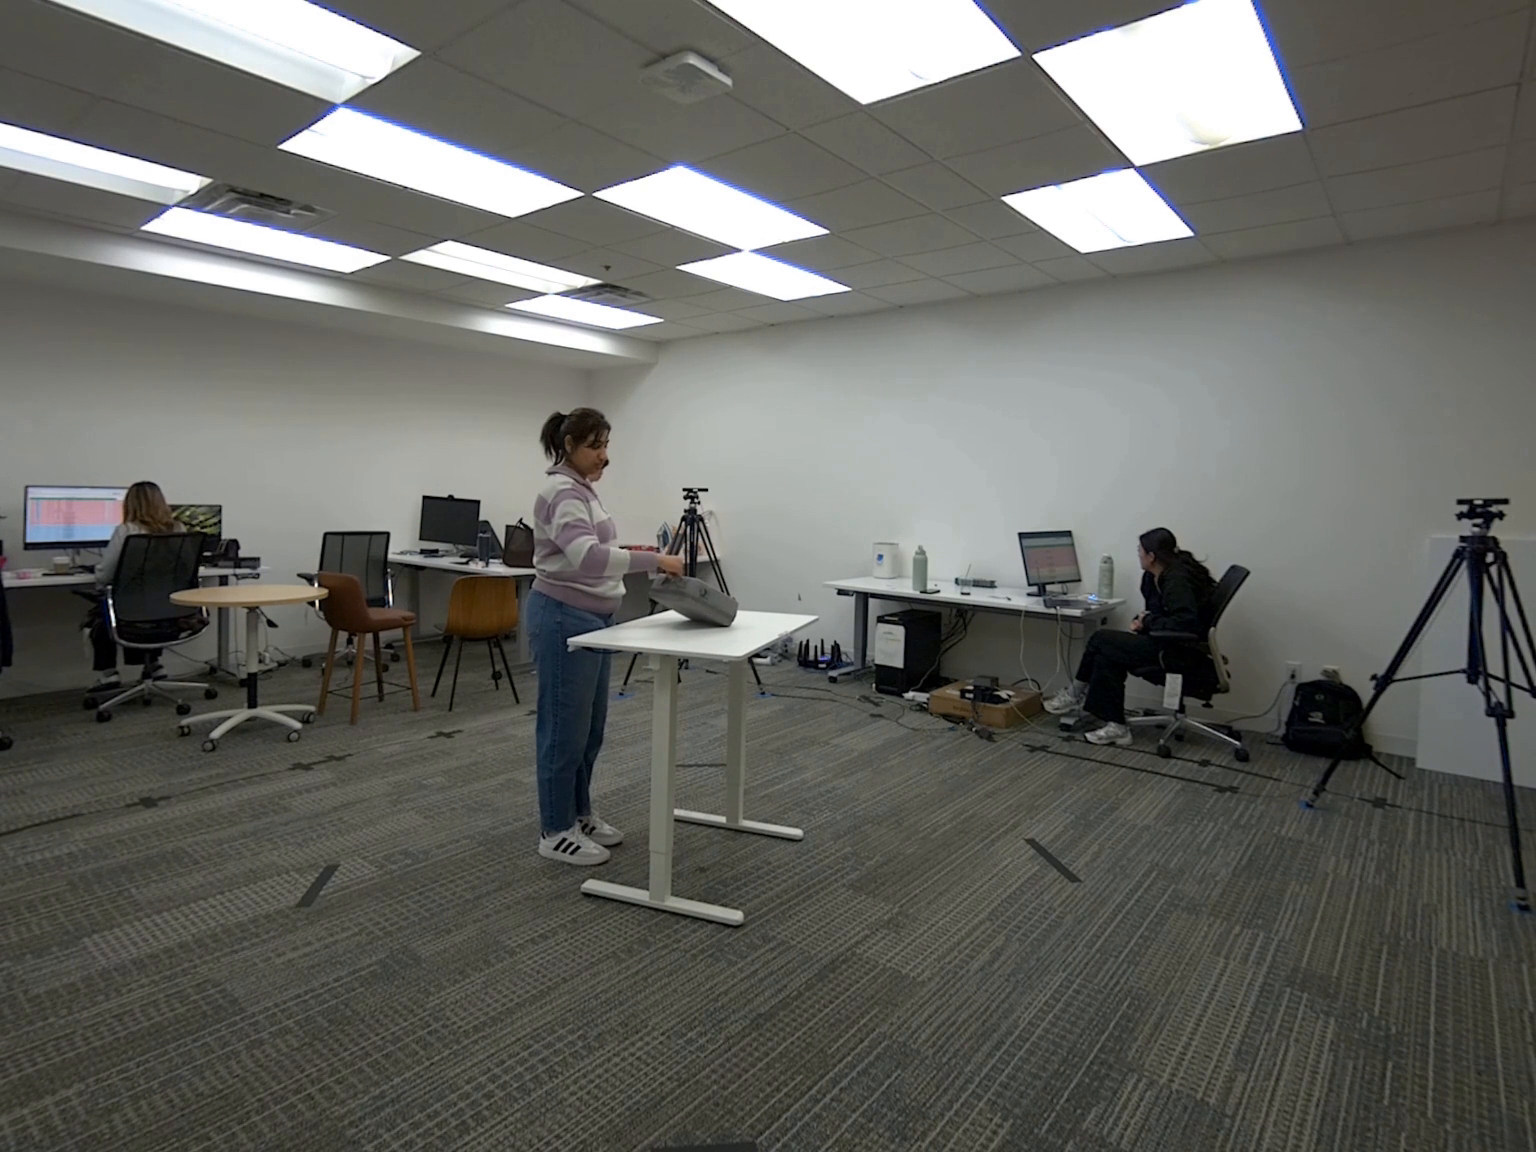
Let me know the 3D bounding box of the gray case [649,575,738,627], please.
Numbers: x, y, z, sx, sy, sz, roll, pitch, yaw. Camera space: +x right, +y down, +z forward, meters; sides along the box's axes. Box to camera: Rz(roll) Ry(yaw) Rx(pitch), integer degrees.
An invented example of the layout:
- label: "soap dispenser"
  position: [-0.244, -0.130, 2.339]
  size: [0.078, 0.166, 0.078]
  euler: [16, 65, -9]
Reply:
- label: "gray case"
  position: [-0.285, 0.085, 3.157]
  size: [0.250, 0.105, 0.266]
  euler: [31, -16, -38]
